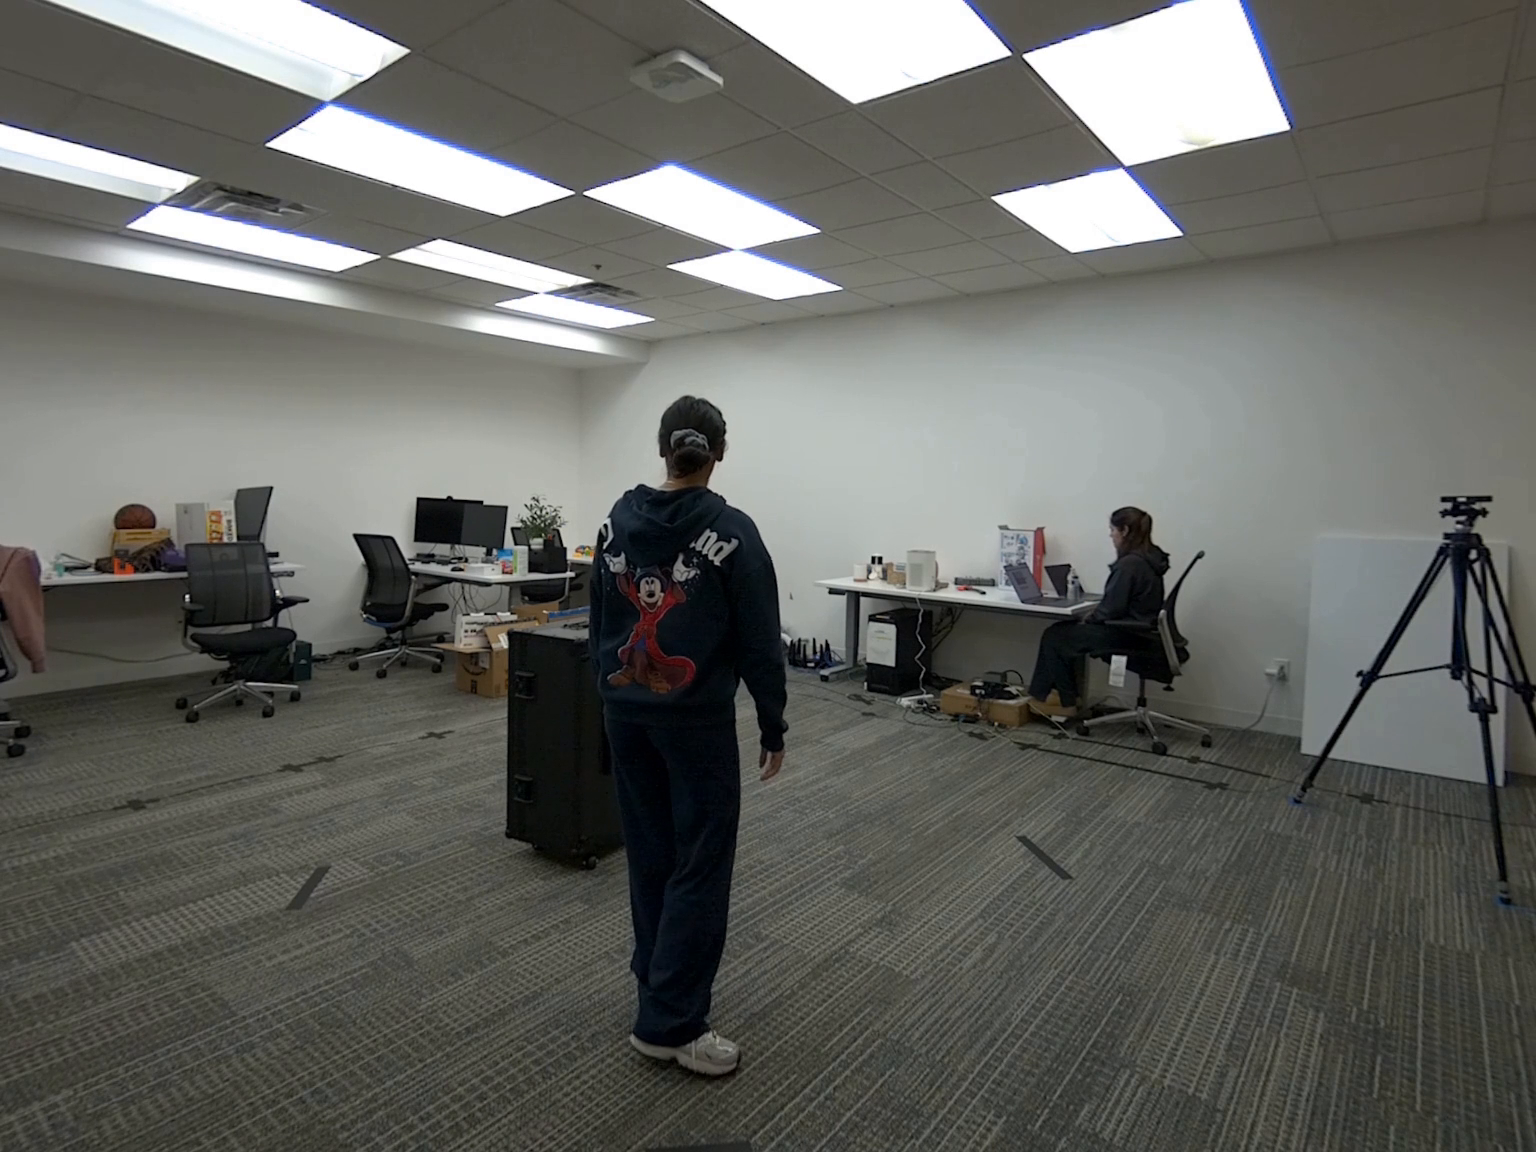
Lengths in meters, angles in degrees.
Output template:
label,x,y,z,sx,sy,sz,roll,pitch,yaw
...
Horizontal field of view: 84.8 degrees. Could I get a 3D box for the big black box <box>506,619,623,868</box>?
label,x,y,z,sx,sy,sz,roll,pitch,yaw
big black box,-0.719,0.623,3.270,0.537,0.859,0.386,3,4,31
